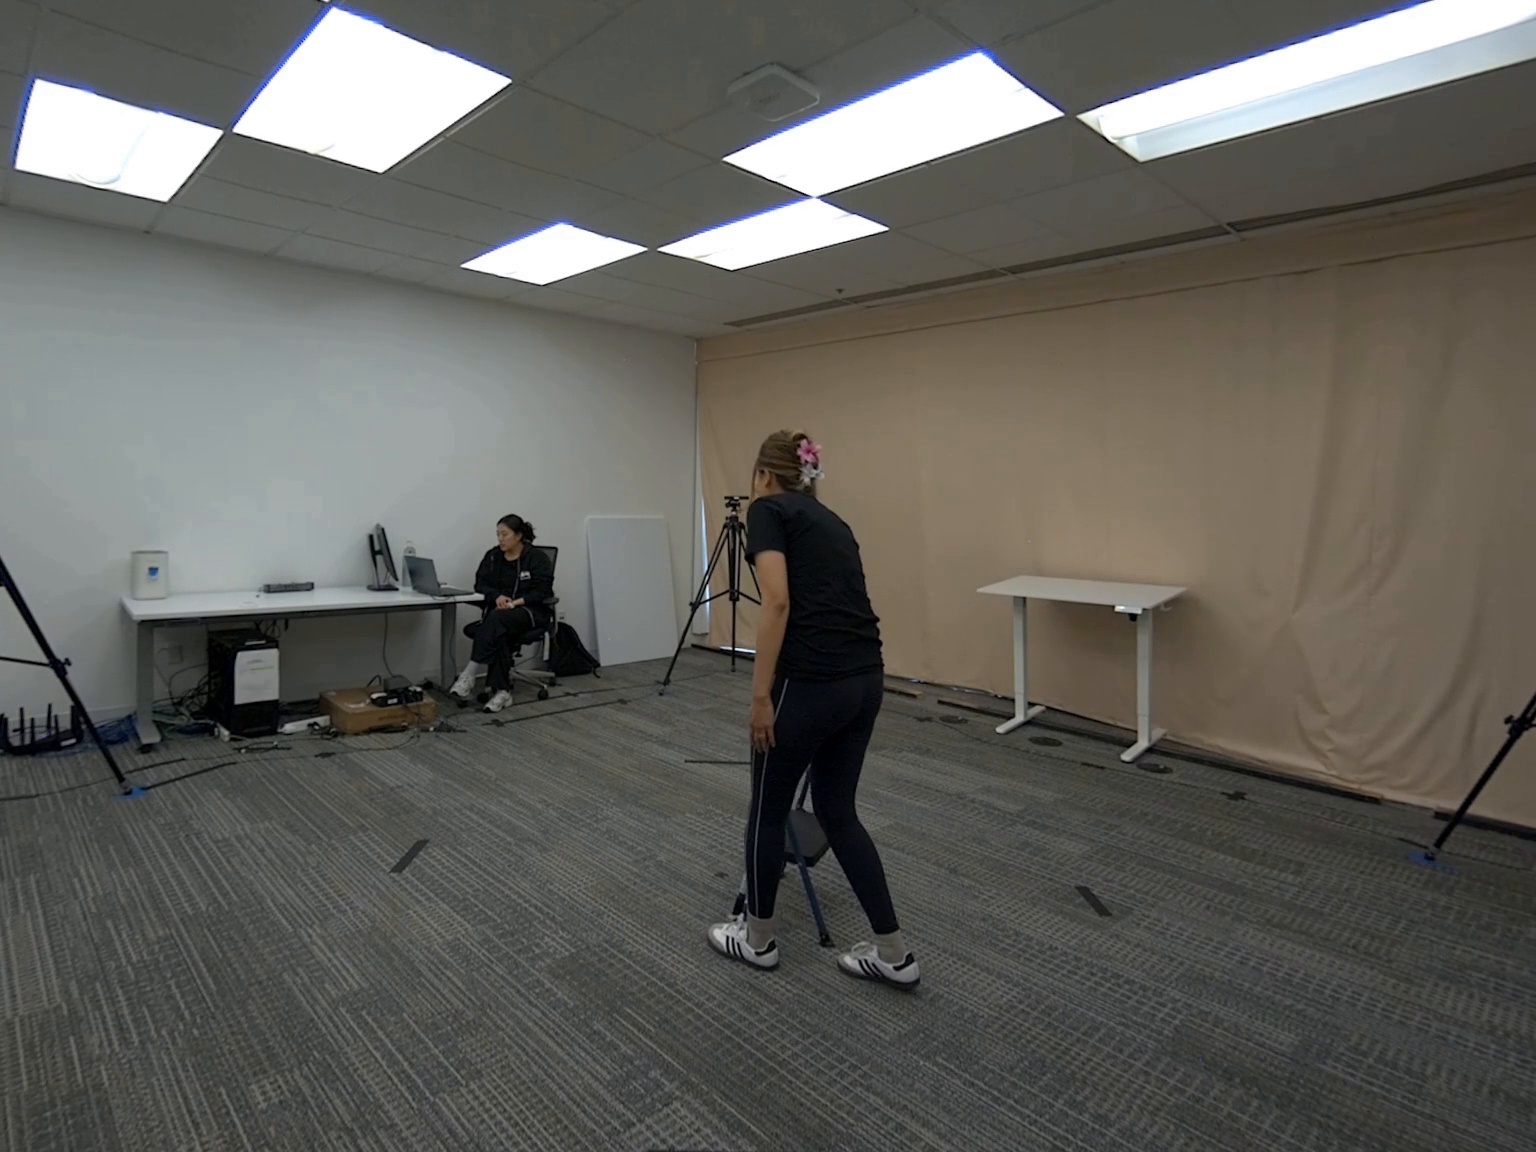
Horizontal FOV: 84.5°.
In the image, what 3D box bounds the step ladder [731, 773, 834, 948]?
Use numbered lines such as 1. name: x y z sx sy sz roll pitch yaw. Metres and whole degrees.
1. step ladder: 0.119 0.833 2.860 0.356 0.604 0.424 4 5 22
